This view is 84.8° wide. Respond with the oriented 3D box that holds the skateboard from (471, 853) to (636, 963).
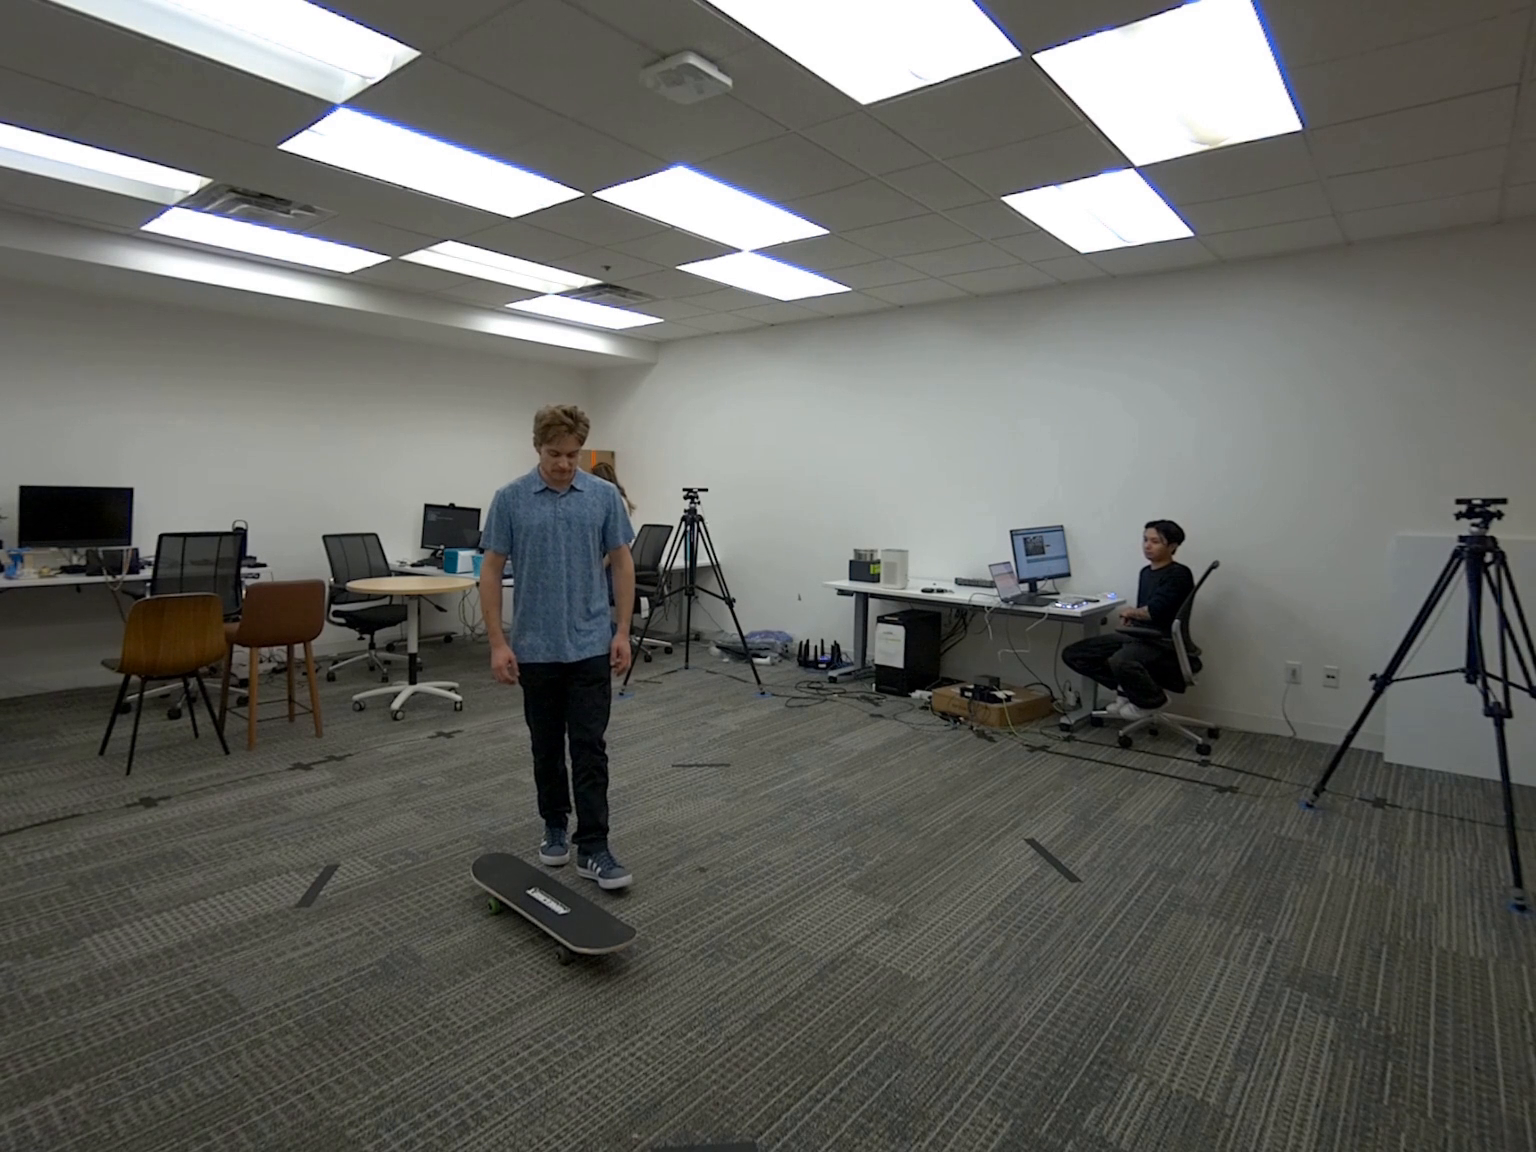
[{"bbox_3d":[-0.702,1.043,2.680,0.813,0.110,0.188,6,8,44],"label":"skateboard"}]
